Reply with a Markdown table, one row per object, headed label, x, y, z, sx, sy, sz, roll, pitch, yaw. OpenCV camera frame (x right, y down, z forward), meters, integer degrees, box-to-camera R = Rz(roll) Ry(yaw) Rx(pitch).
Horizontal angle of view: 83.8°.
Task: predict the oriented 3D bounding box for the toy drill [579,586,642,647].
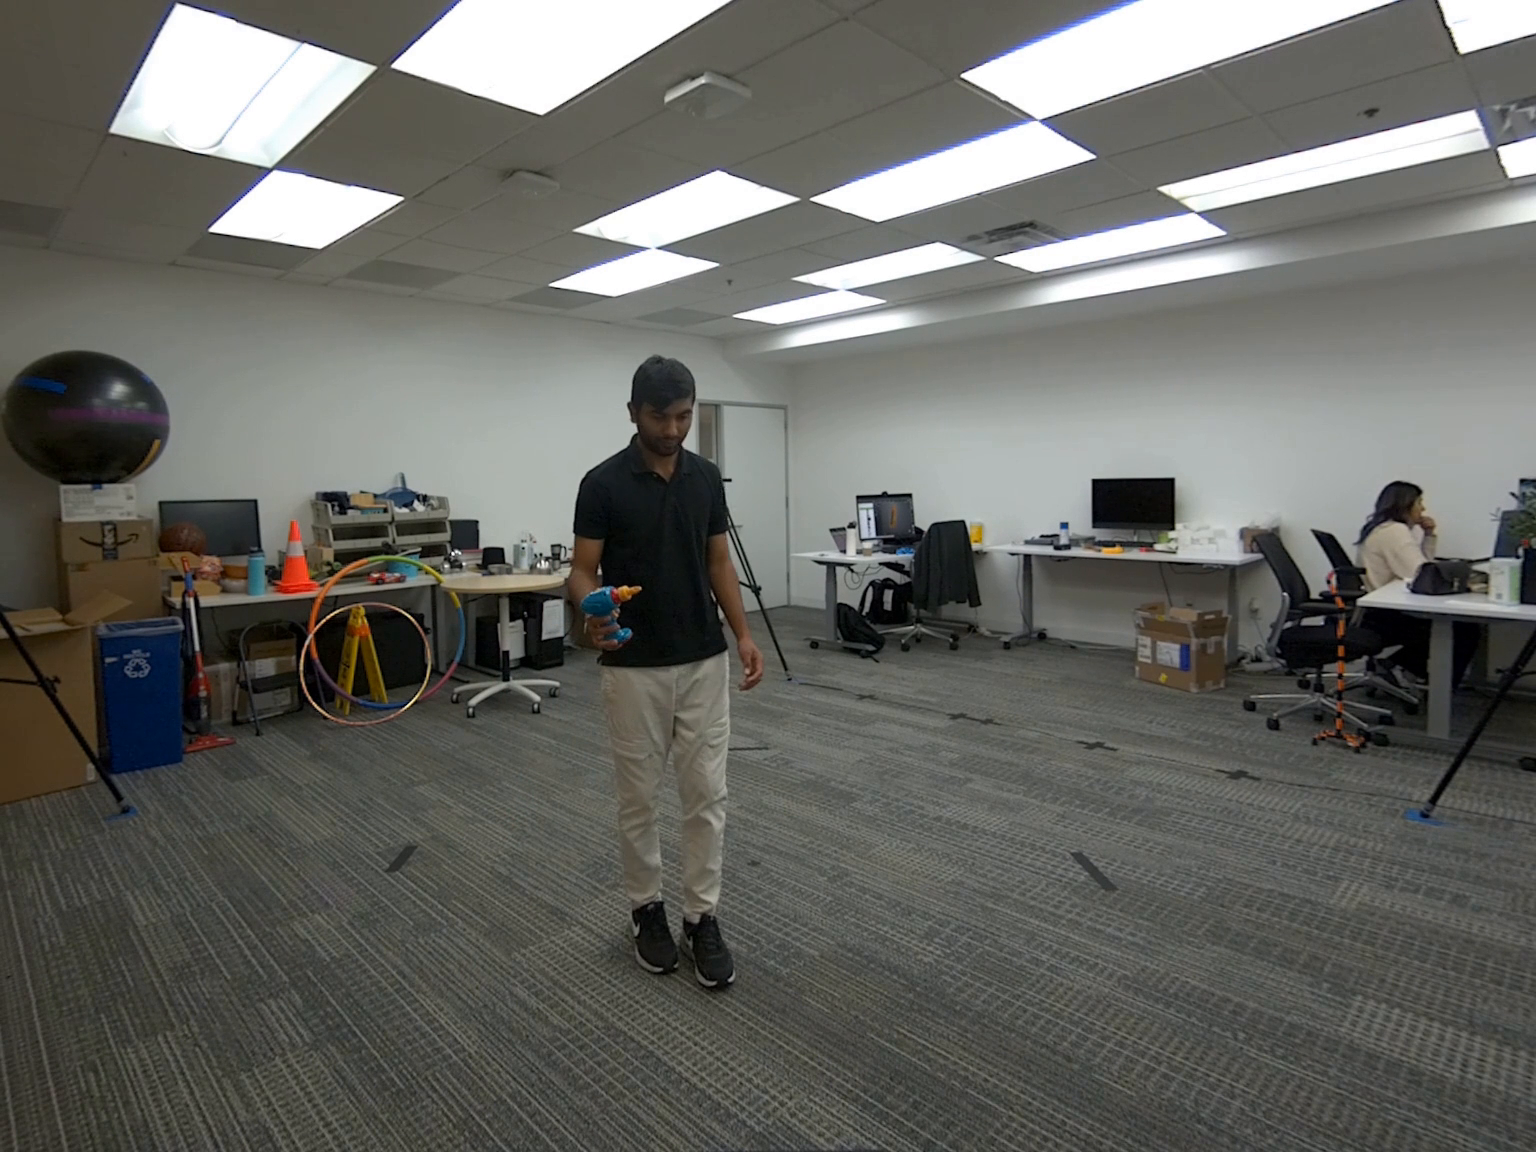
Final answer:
| label | x | y | z | sx | sy | sz | roll | pitch | yaw |
| --- | --- | --- | --- | --- | --- | --- | --- | --- | --- |
| toy drill | -0.358 | 0.091 | 2.050 | 0.171 | 0.143 | 0.062 | -19 | 21 | 17 |
